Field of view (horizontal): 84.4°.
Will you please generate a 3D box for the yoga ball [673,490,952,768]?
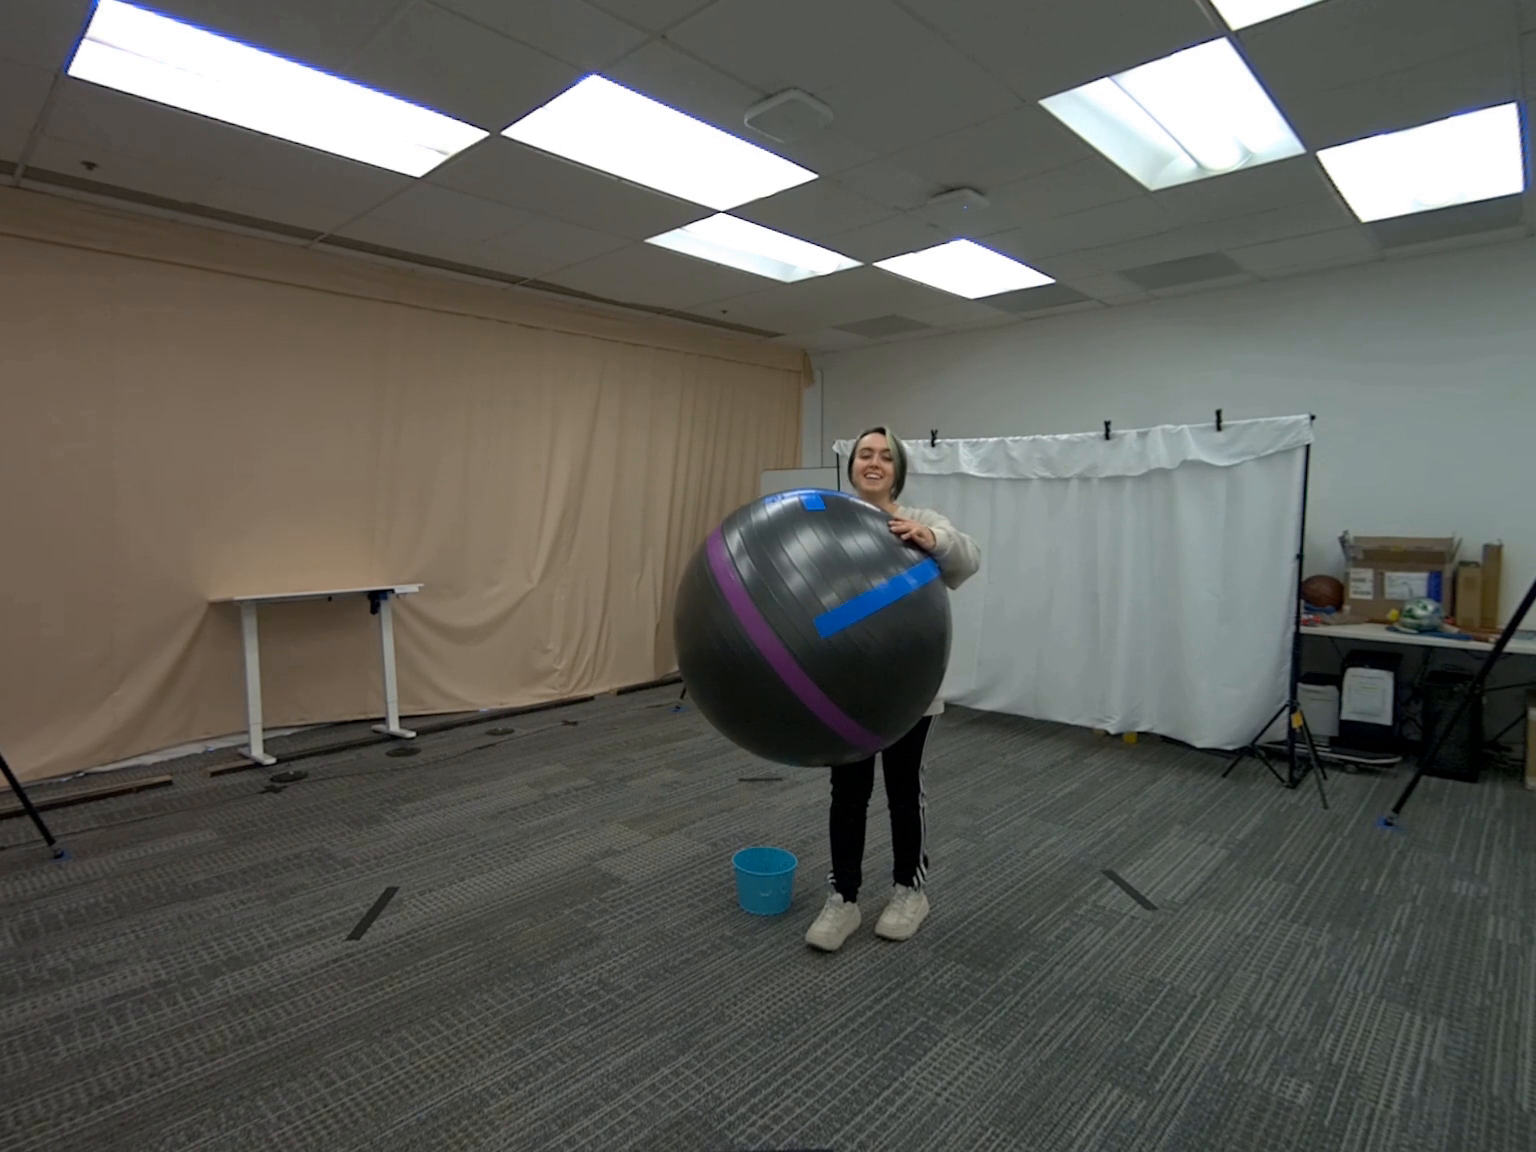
[{"bbox_3d":[0.111,0.149,2.320,0.757,0.756,0.760,0,4,-2],"label":"yoga ball"}]
